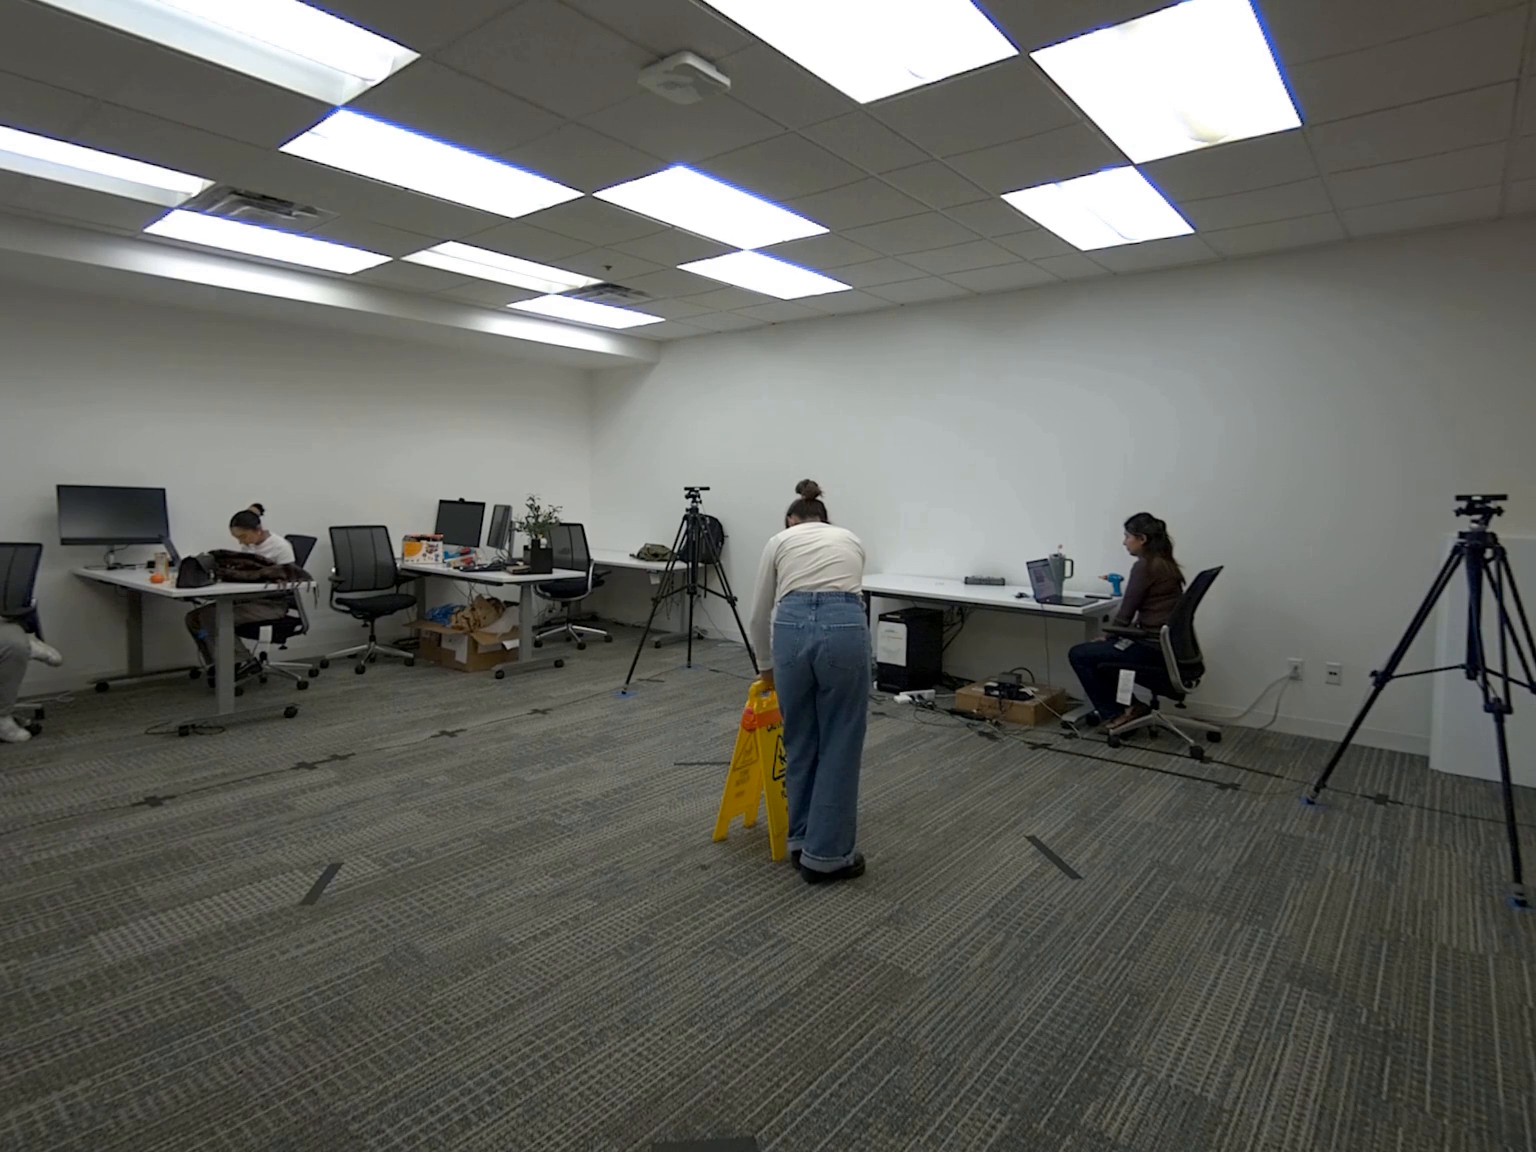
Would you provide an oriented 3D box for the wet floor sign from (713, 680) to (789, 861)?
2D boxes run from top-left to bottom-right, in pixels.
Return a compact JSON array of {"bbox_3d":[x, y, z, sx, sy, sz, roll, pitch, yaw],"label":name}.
[{"bbox_3d":[-0.017,0.722,3.351,0.299,0.644,0.274,4,4,34],"label":"wet floor sign"}]
